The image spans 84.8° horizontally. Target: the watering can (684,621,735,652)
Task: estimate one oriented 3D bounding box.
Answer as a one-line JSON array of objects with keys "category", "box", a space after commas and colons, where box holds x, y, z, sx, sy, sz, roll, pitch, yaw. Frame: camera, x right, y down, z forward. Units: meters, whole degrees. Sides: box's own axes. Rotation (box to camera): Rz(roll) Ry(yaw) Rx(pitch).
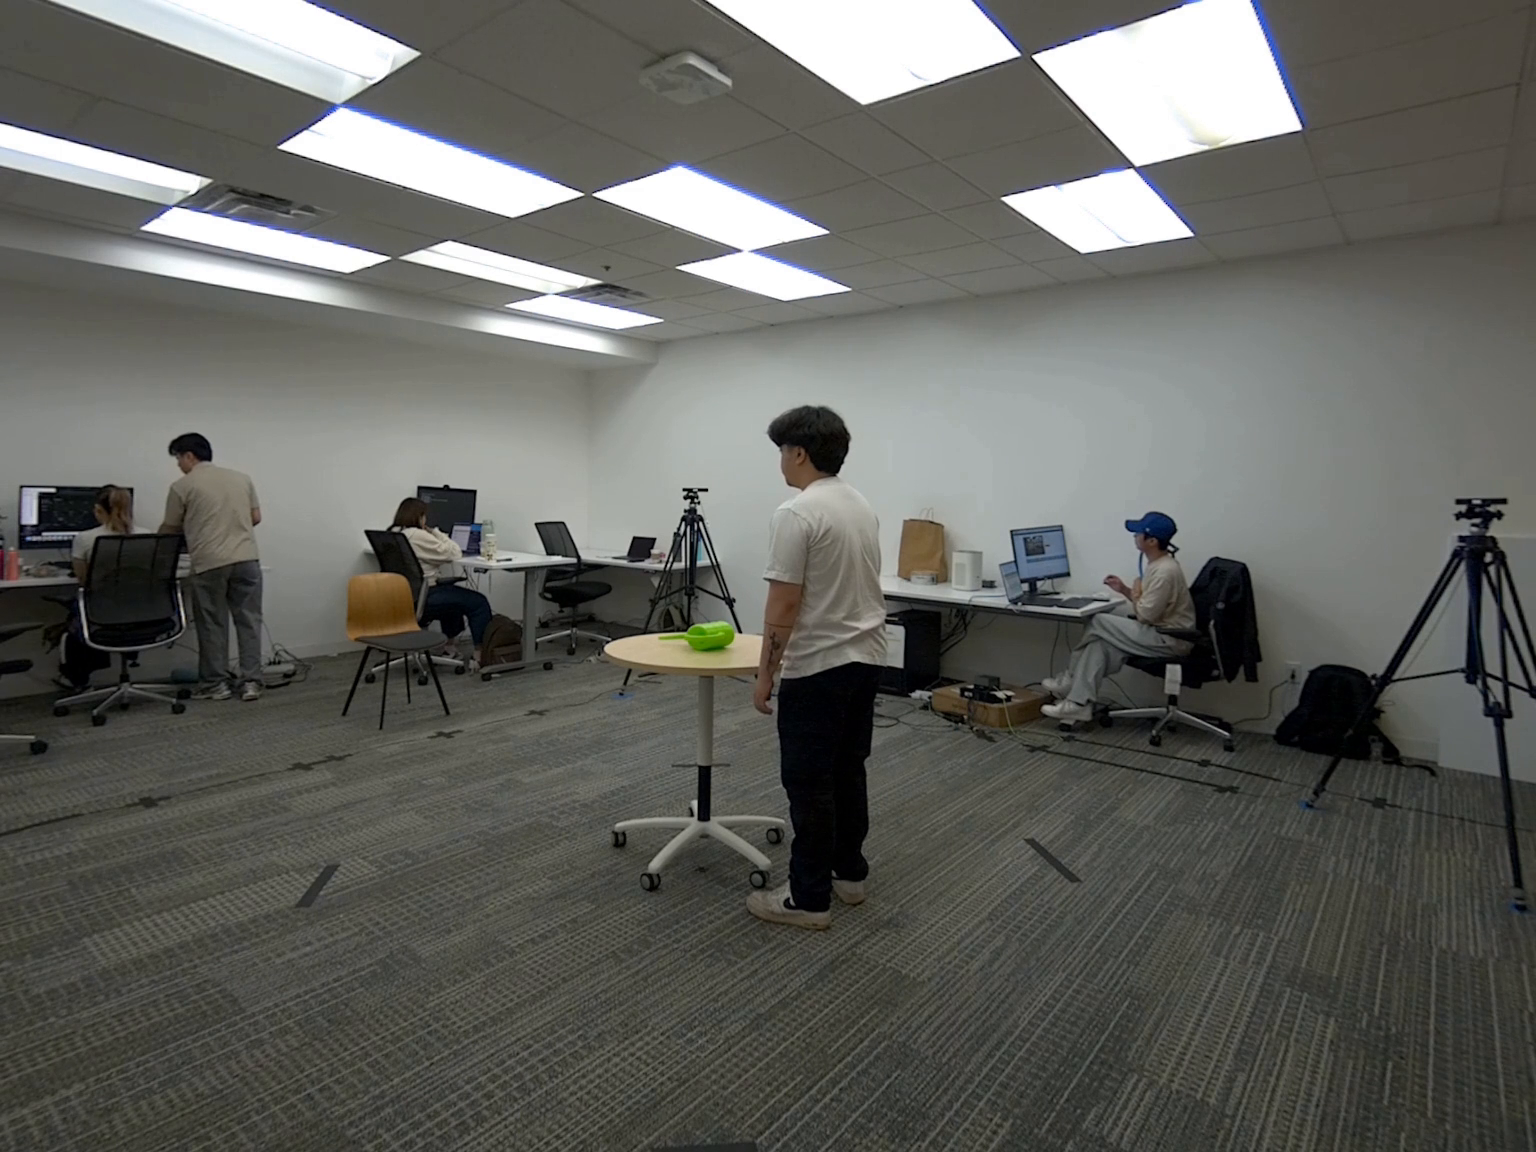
[{"category": "watering can", "box": [-0.271, 0.214, 3.201, 0.289, 0.097, 0.171, 12, 11, 43]}]
